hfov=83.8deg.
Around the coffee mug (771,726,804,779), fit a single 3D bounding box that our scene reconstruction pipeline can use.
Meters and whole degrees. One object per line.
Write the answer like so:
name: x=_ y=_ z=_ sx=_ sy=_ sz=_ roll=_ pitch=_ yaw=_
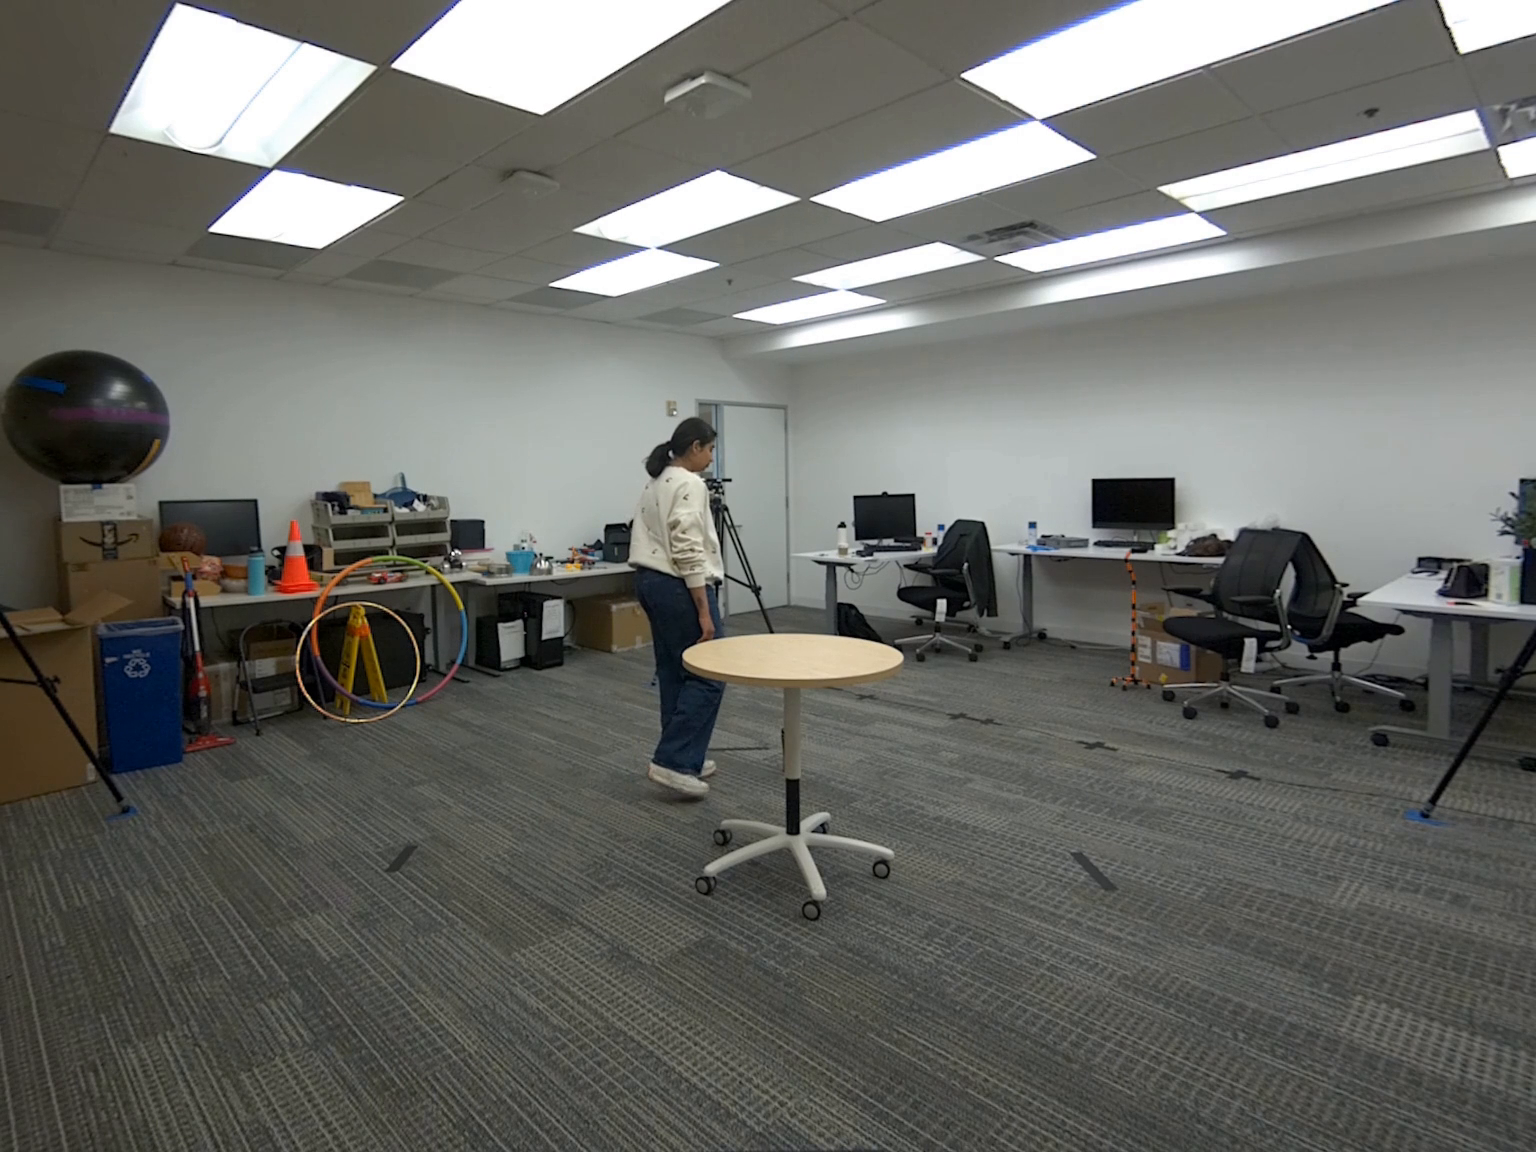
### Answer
coffee mug: x=0.090 y=0.832 z=4.055 sx=0.091 sy=0.202 sz=0.118 roll=6 pitch=6 yaw=42
